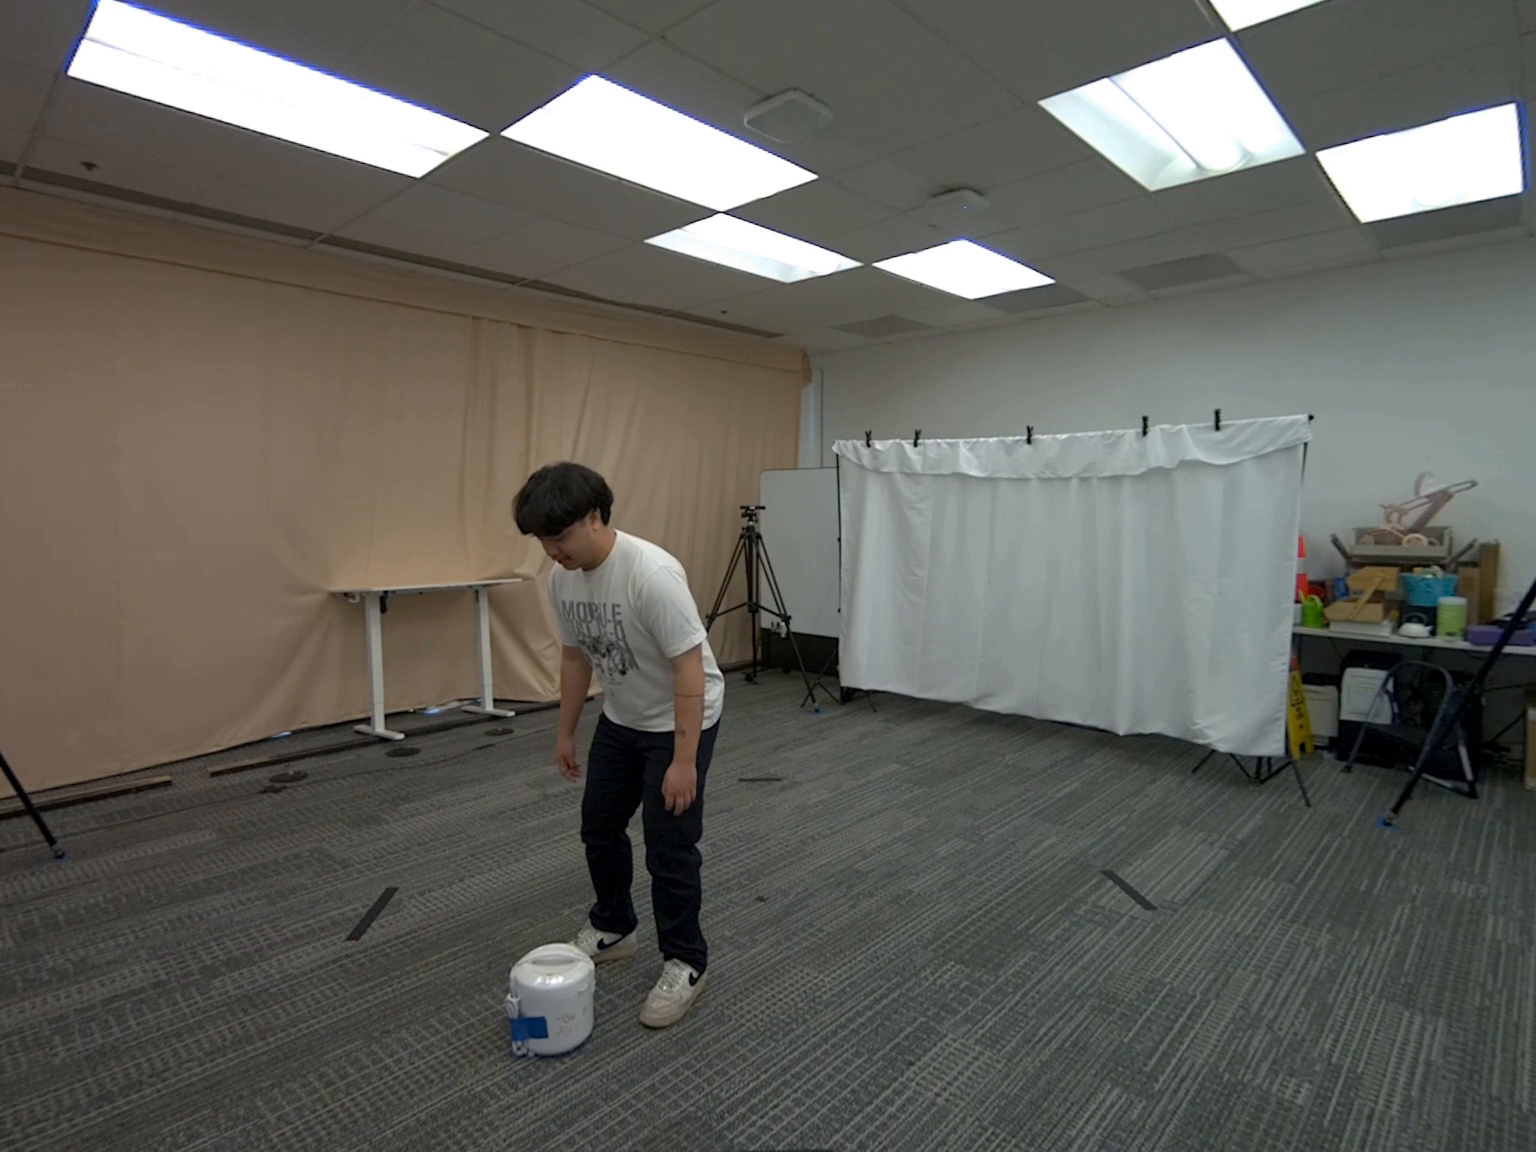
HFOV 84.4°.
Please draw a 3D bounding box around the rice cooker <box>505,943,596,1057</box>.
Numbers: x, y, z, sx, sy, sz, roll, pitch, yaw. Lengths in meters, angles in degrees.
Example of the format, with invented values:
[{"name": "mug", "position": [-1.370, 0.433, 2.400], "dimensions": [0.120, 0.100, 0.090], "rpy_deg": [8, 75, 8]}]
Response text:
[{"name": "rice cooker", "position": [-0.562, 1.090, 2.213], "dimensions": [0.220, 0.232, 0.219], "rpy_deg": [0, 5, -5]}]
